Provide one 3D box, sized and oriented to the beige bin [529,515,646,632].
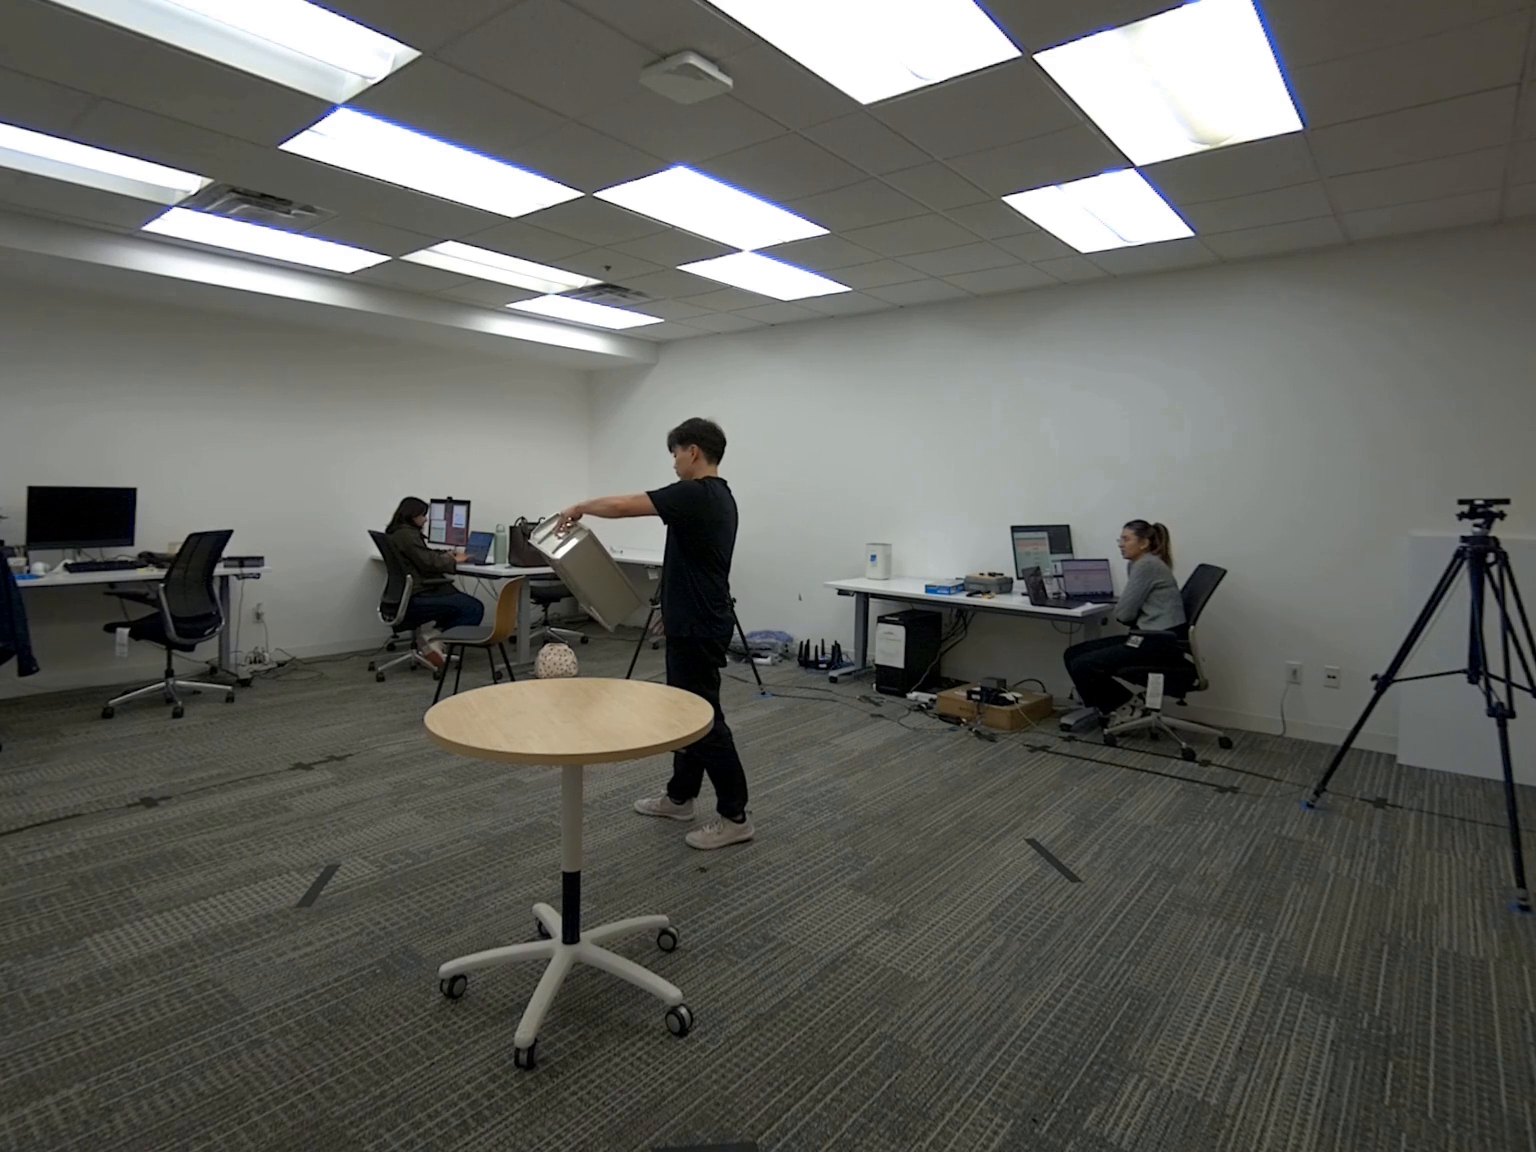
[{"bbox_3d":[-0.757,-0.023,3.466,0.188,0.407,0.392,-42,32,-15],"label":"beige bin"}]
